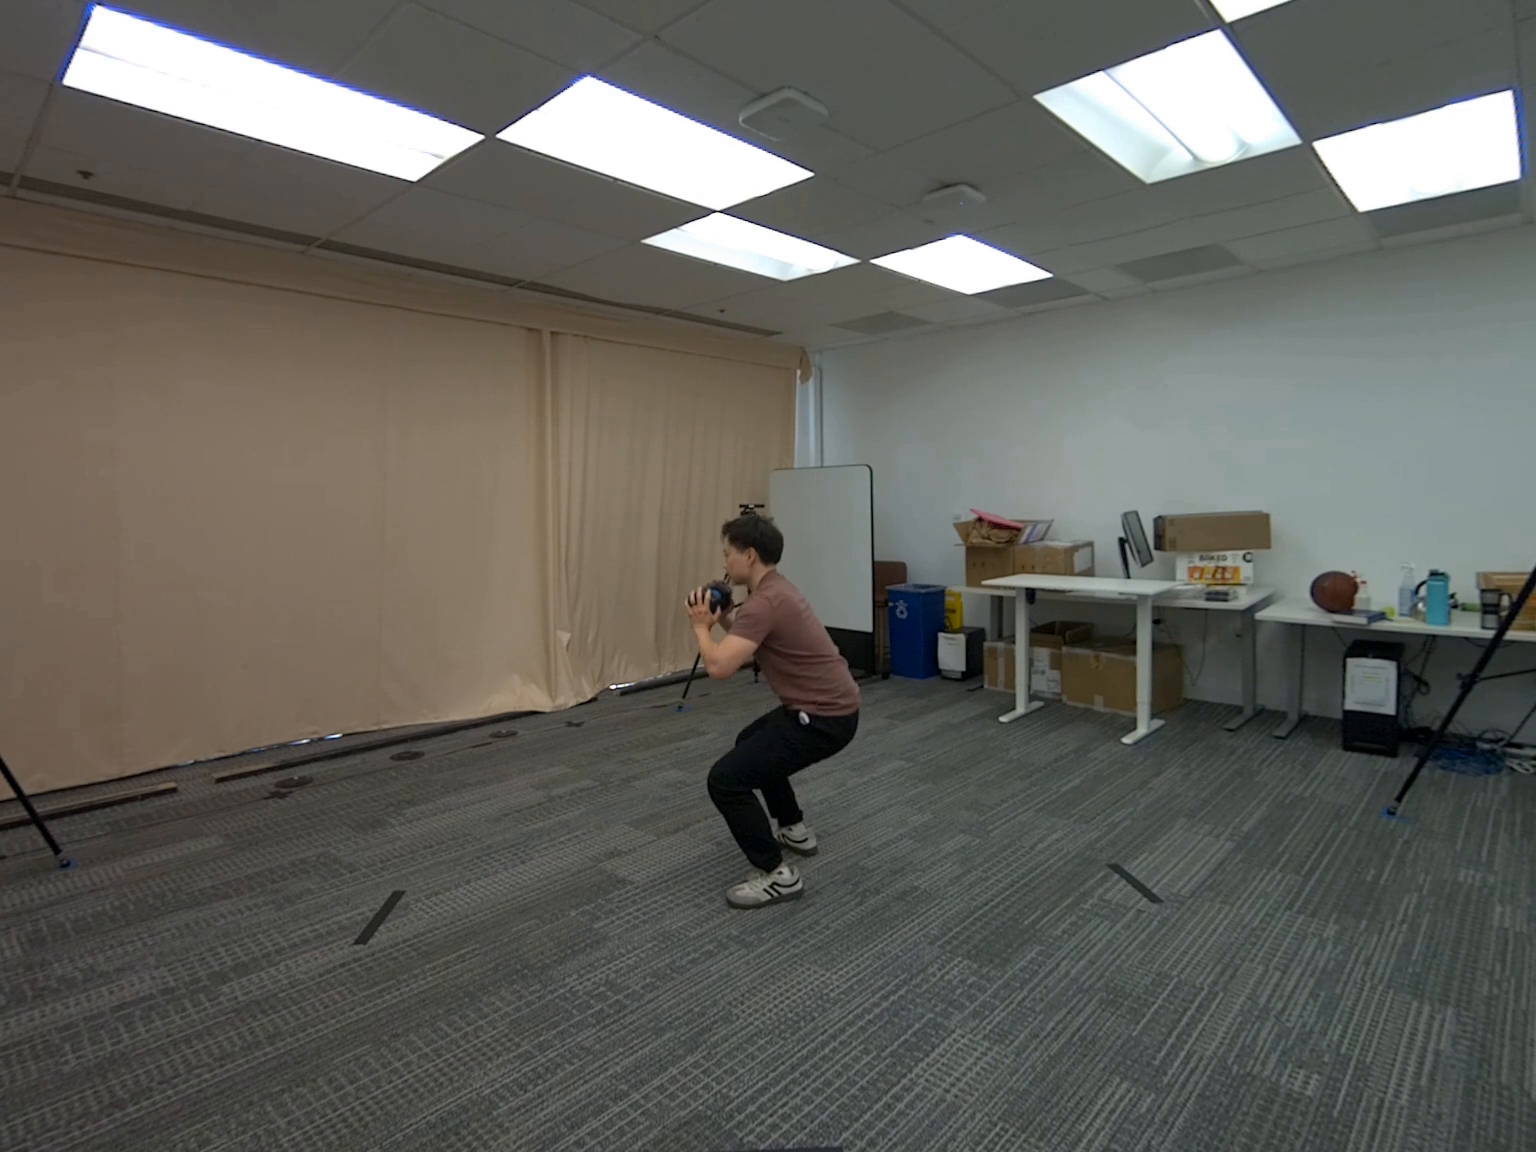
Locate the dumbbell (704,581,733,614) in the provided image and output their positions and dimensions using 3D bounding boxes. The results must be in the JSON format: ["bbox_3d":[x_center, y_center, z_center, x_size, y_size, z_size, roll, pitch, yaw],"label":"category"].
[{"bbox_3d":[-0.212,0.099,3.214,0.124,0.108,0.292,-22,7,11],"label":"dumbbell"}]
